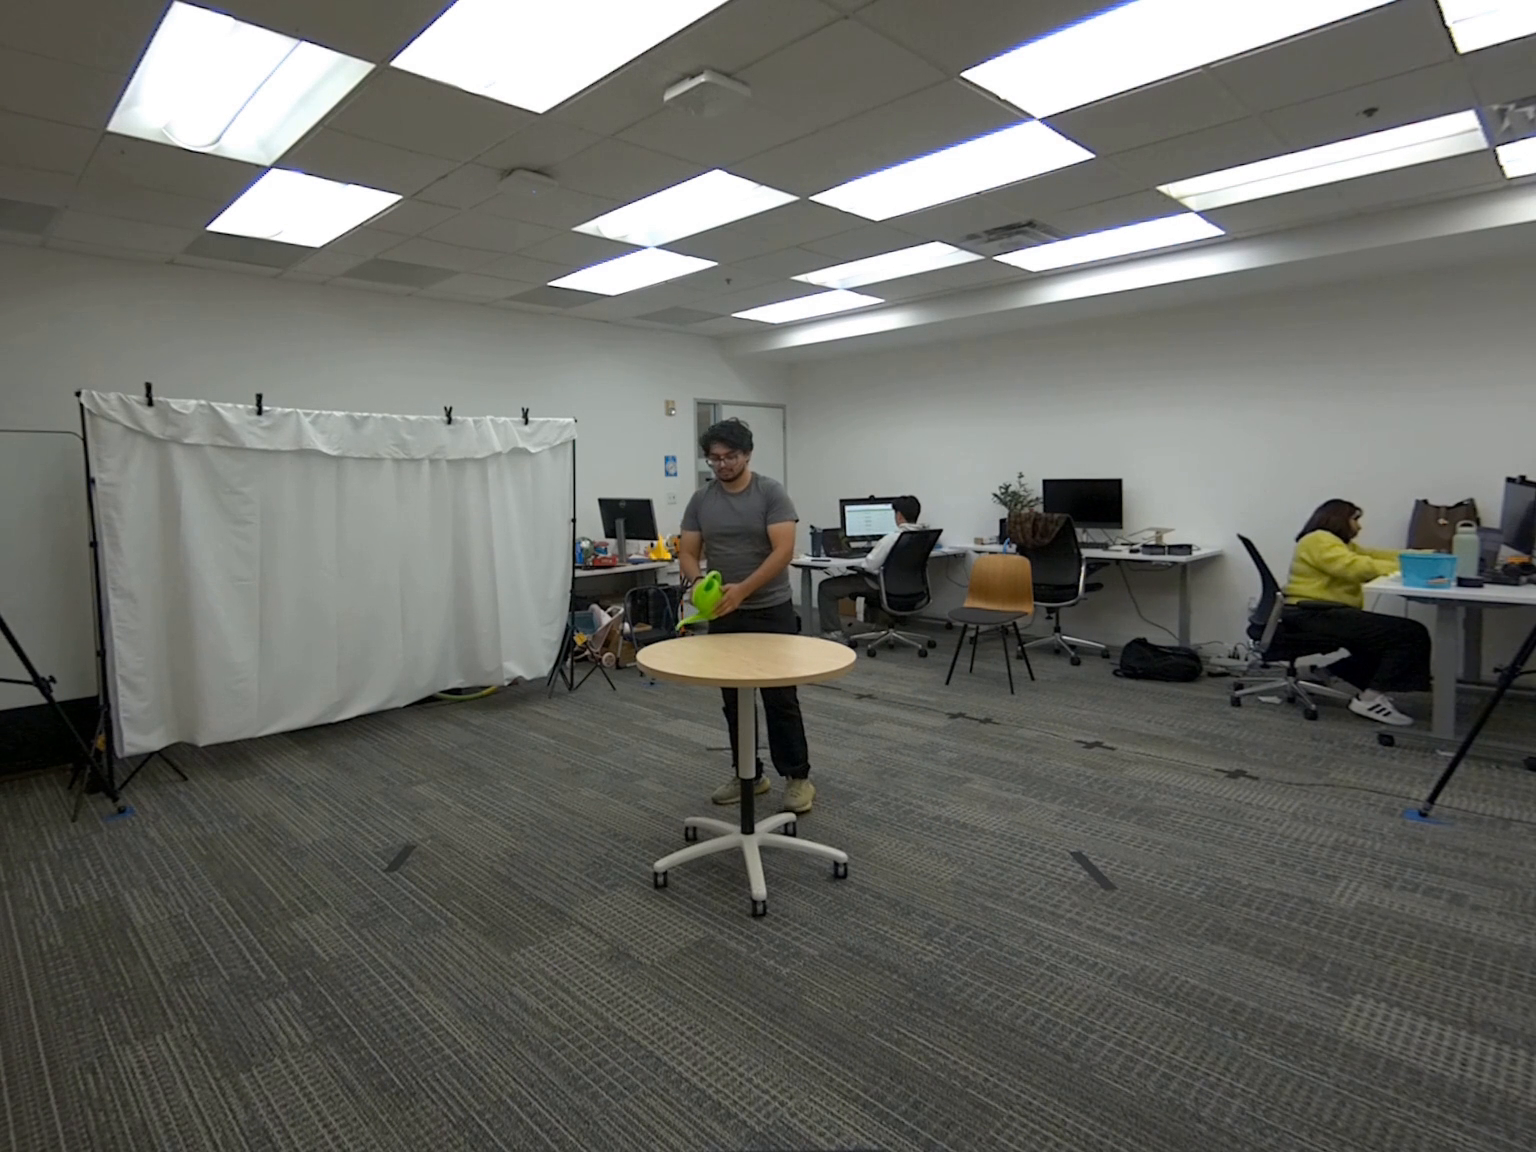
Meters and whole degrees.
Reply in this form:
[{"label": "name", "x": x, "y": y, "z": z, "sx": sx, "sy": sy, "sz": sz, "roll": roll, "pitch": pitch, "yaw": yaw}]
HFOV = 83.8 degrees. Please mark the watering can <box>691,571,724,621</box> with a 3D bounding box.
[{"label": "watering can", "x": -0.267, "y": 0.117, "z": 3.322, "sx": 0.101, "sy": 0.278, "sz": 0.171, "roll": 31, "pitch": -15, "yaw": 29}]
